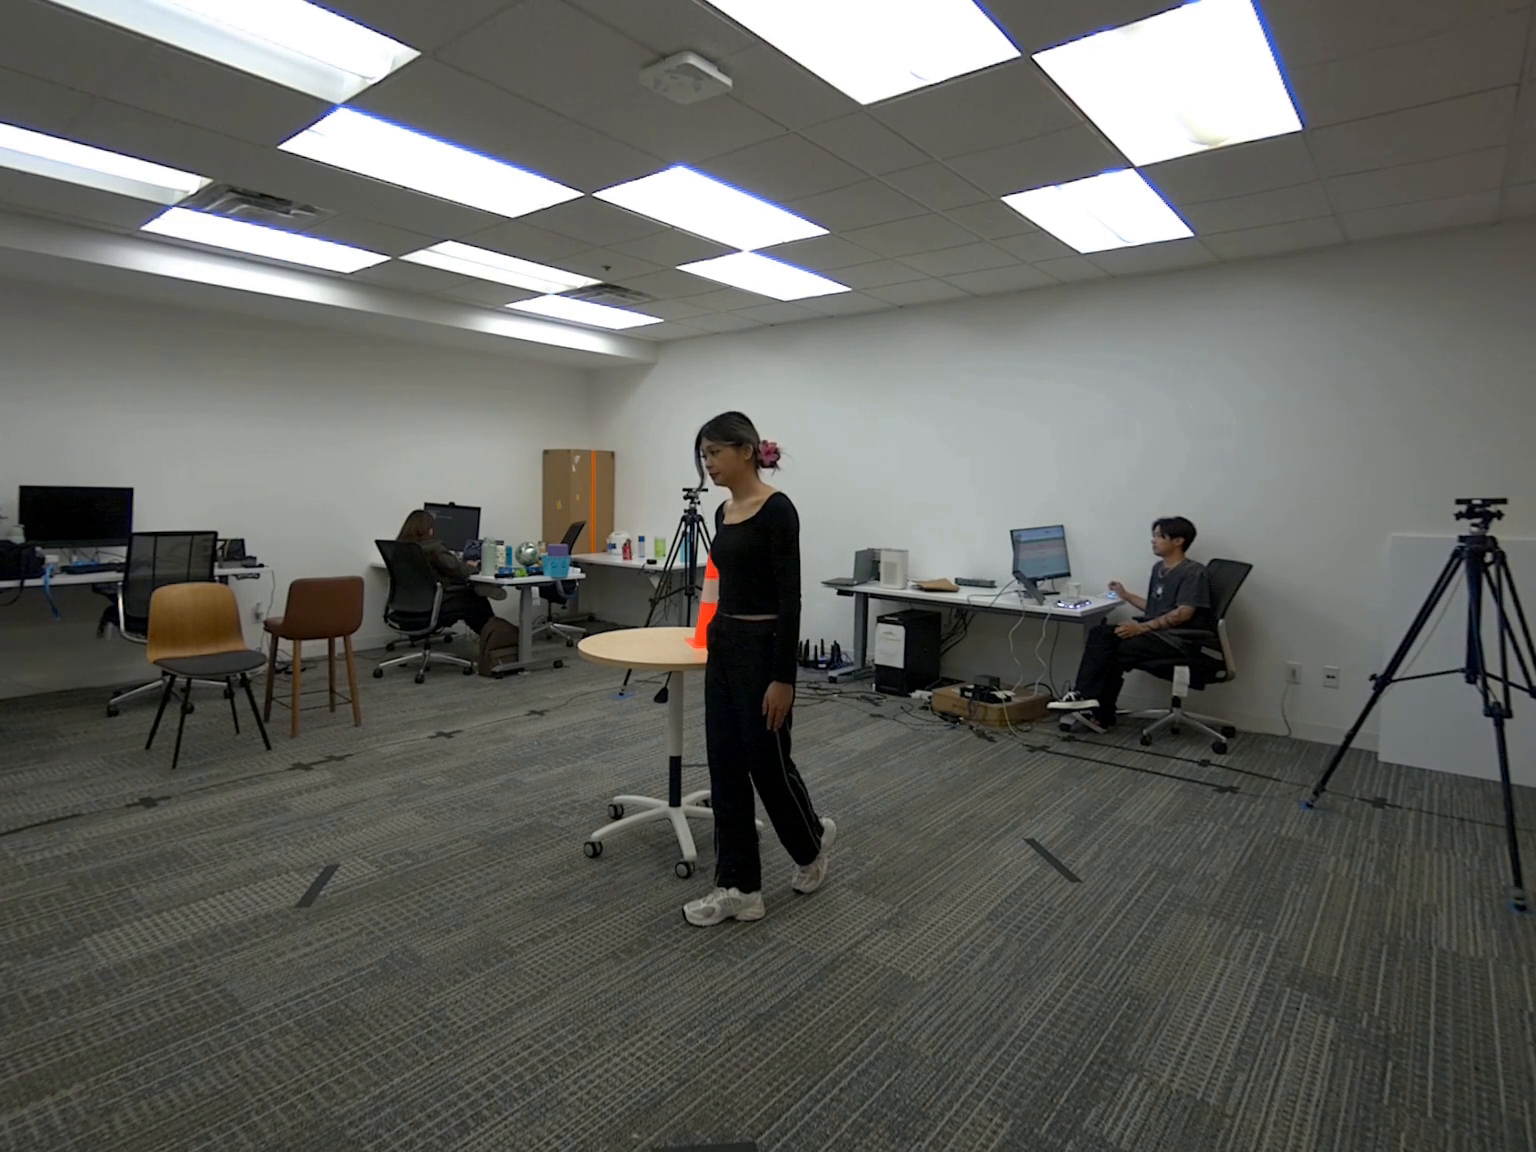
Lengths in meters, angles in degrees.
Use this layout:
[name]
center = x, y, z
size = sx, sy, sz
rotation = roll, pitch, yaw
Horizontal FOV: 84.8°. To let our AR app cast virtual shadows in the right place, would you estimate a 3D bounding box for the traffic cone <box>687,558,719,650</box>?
[traffic cone]
center = -0.224, 0.074, 3.337
size = 0.200, 0.383, 0.209
rotation = 1, 3, -18
